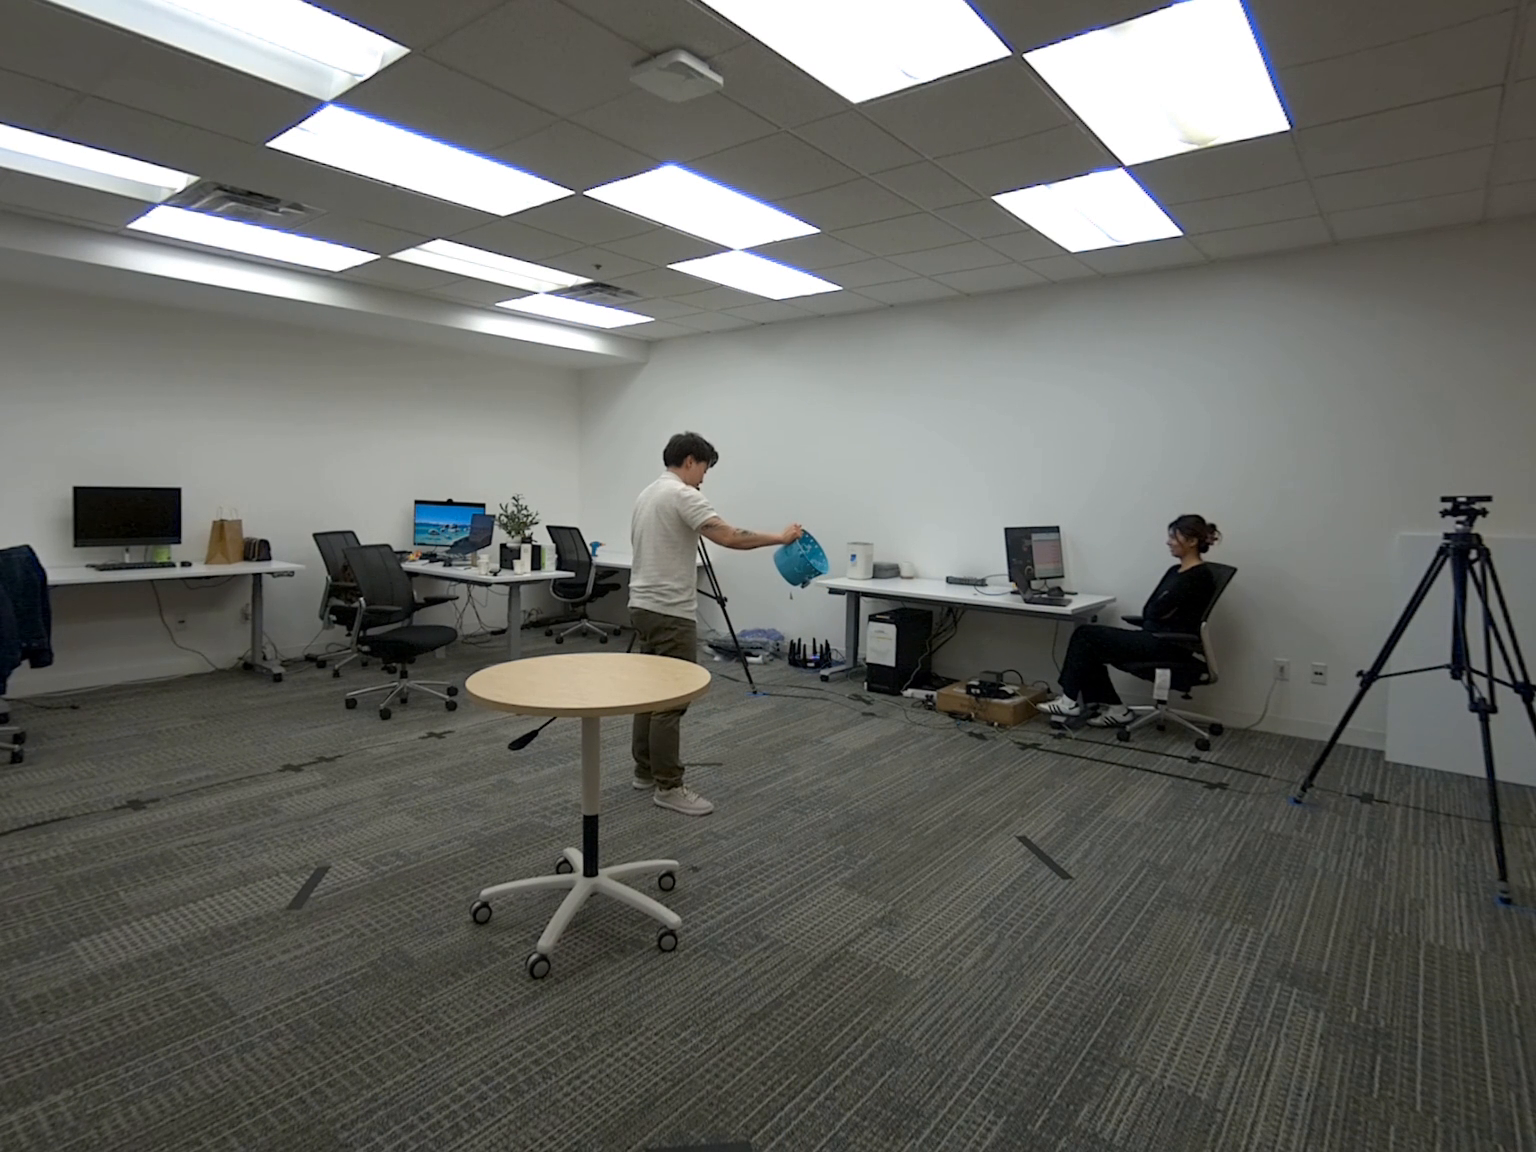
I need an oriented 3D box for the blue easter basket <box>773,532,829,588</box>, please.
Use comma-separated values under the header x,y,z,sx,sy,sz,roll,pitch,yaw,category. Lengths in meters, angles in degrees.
x,y,z,sx,sy,sz,roll,pitch,yaw,category
0.129,-0.069,3.753,0.157,0.248,0.238,-36,-13,24,blue easter basket
